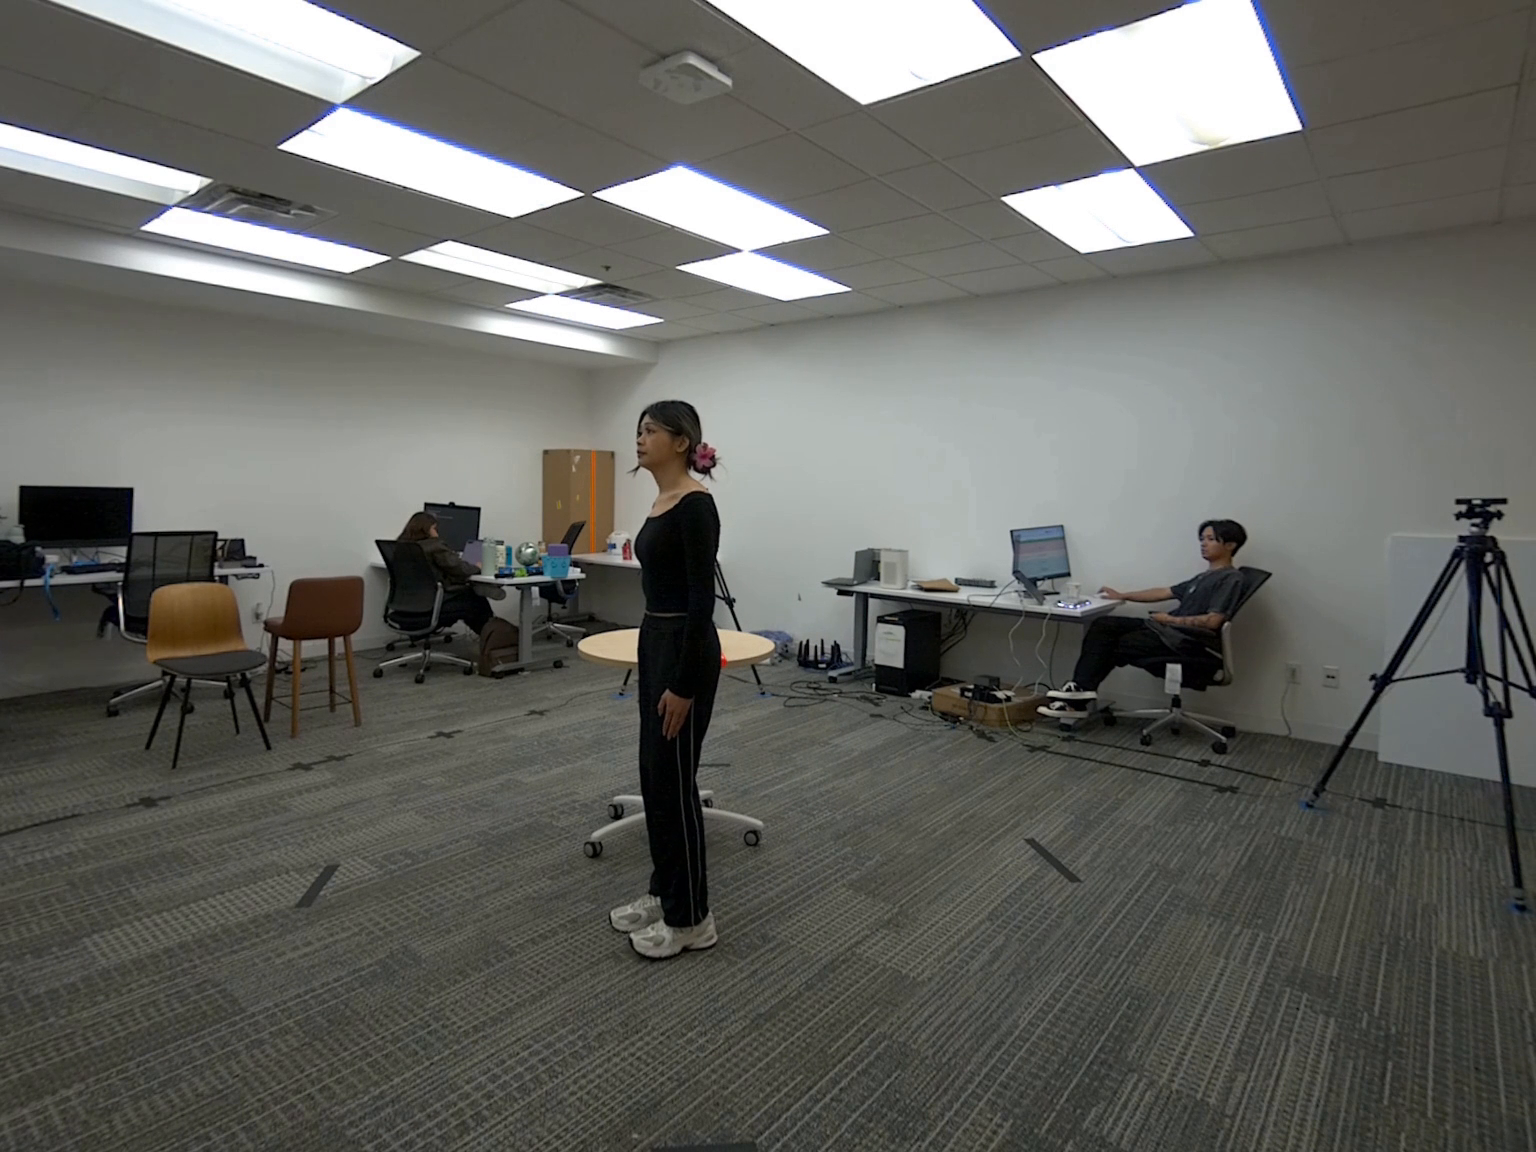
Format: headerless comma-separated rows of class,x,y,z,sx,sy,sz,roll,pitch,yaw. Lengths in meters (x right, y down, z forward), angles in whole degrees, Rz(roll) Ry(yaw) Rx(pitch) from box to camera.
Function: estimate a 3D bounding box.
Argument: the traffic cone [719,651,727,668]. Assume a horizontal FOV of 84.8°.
traffic cone,-0.244,0.236,3.064,0.200,0.200,0.397,-4,18,-24
